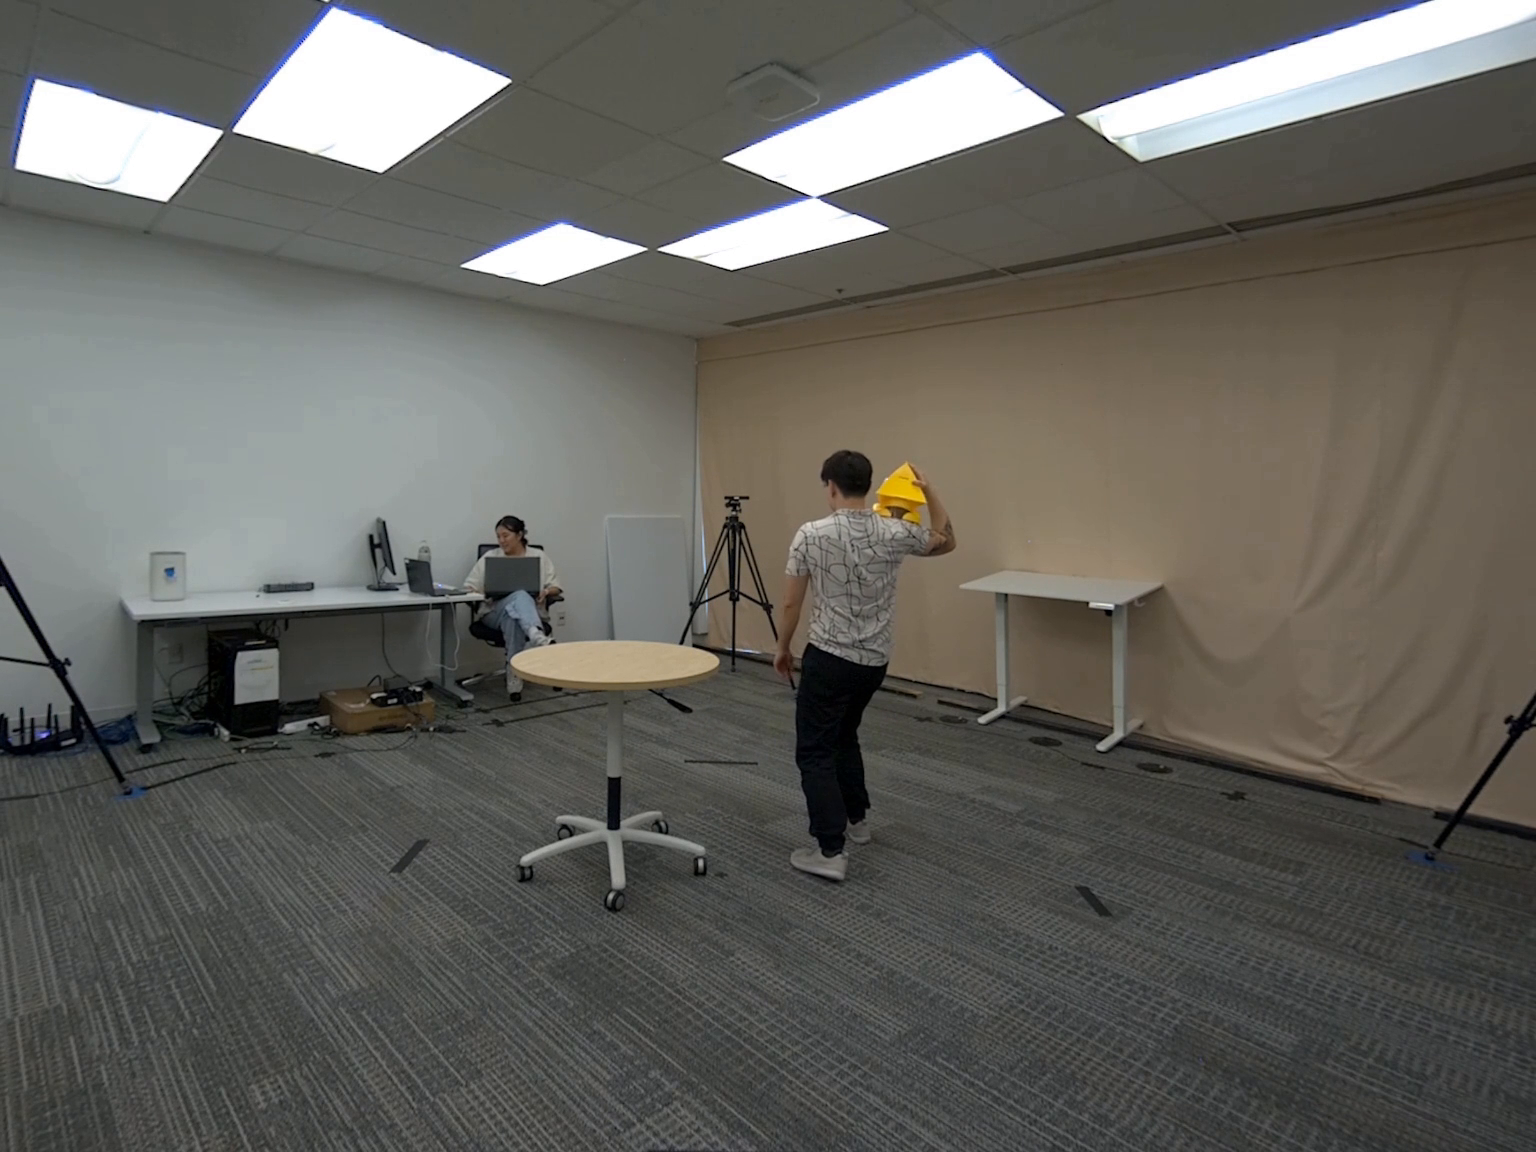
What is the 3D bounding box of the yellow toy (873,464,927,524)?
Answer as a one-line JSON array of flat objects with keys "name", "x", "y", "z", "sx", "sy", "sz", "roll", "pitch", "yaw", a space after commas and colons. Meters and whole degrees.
[{"name": "yellow toy", "x": 0.527, "y": -0.344, "z": 3.464, "sx": 0.206, "sy": 0.231, "sz": 0.192, "roll": 9, "pitch": -3, "yaw": 4}]
